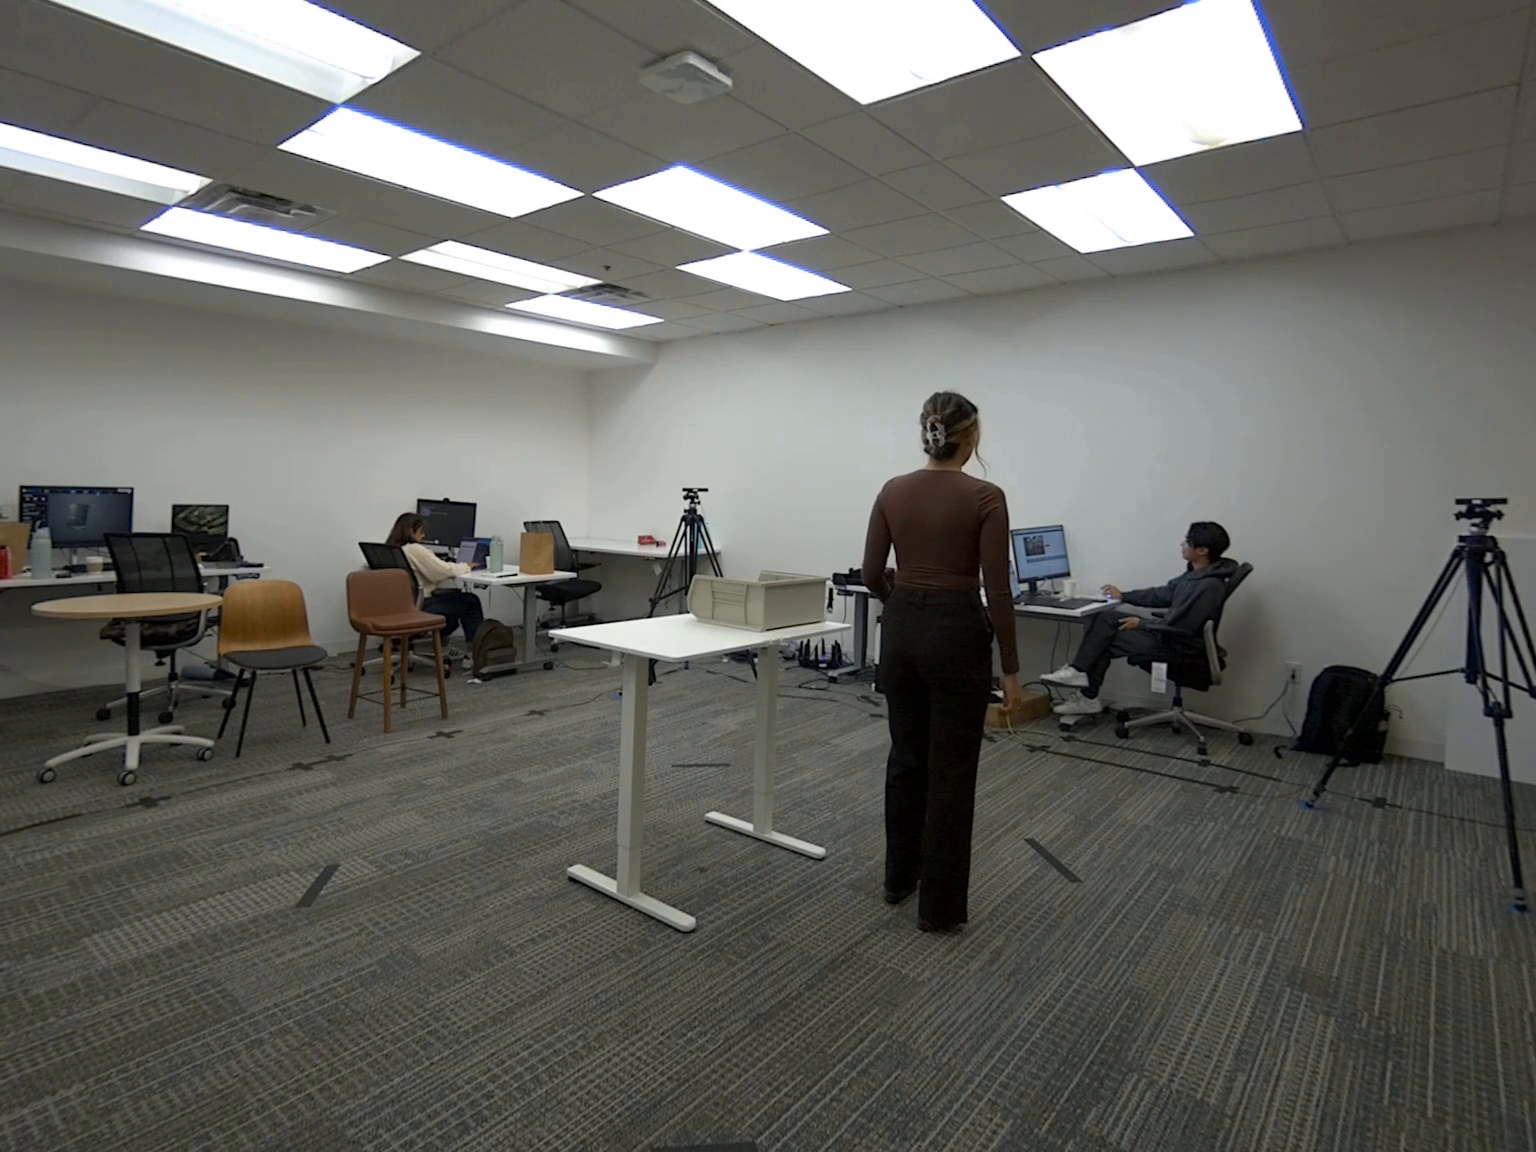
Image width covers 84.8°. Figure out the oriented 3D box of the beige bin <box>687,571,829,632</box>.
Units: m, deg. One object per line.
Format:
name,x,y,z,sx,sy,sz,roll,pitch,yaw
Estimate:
beige bin,-0.045,0.087,3.298,0.390,0.188,0.409,7,6,39
